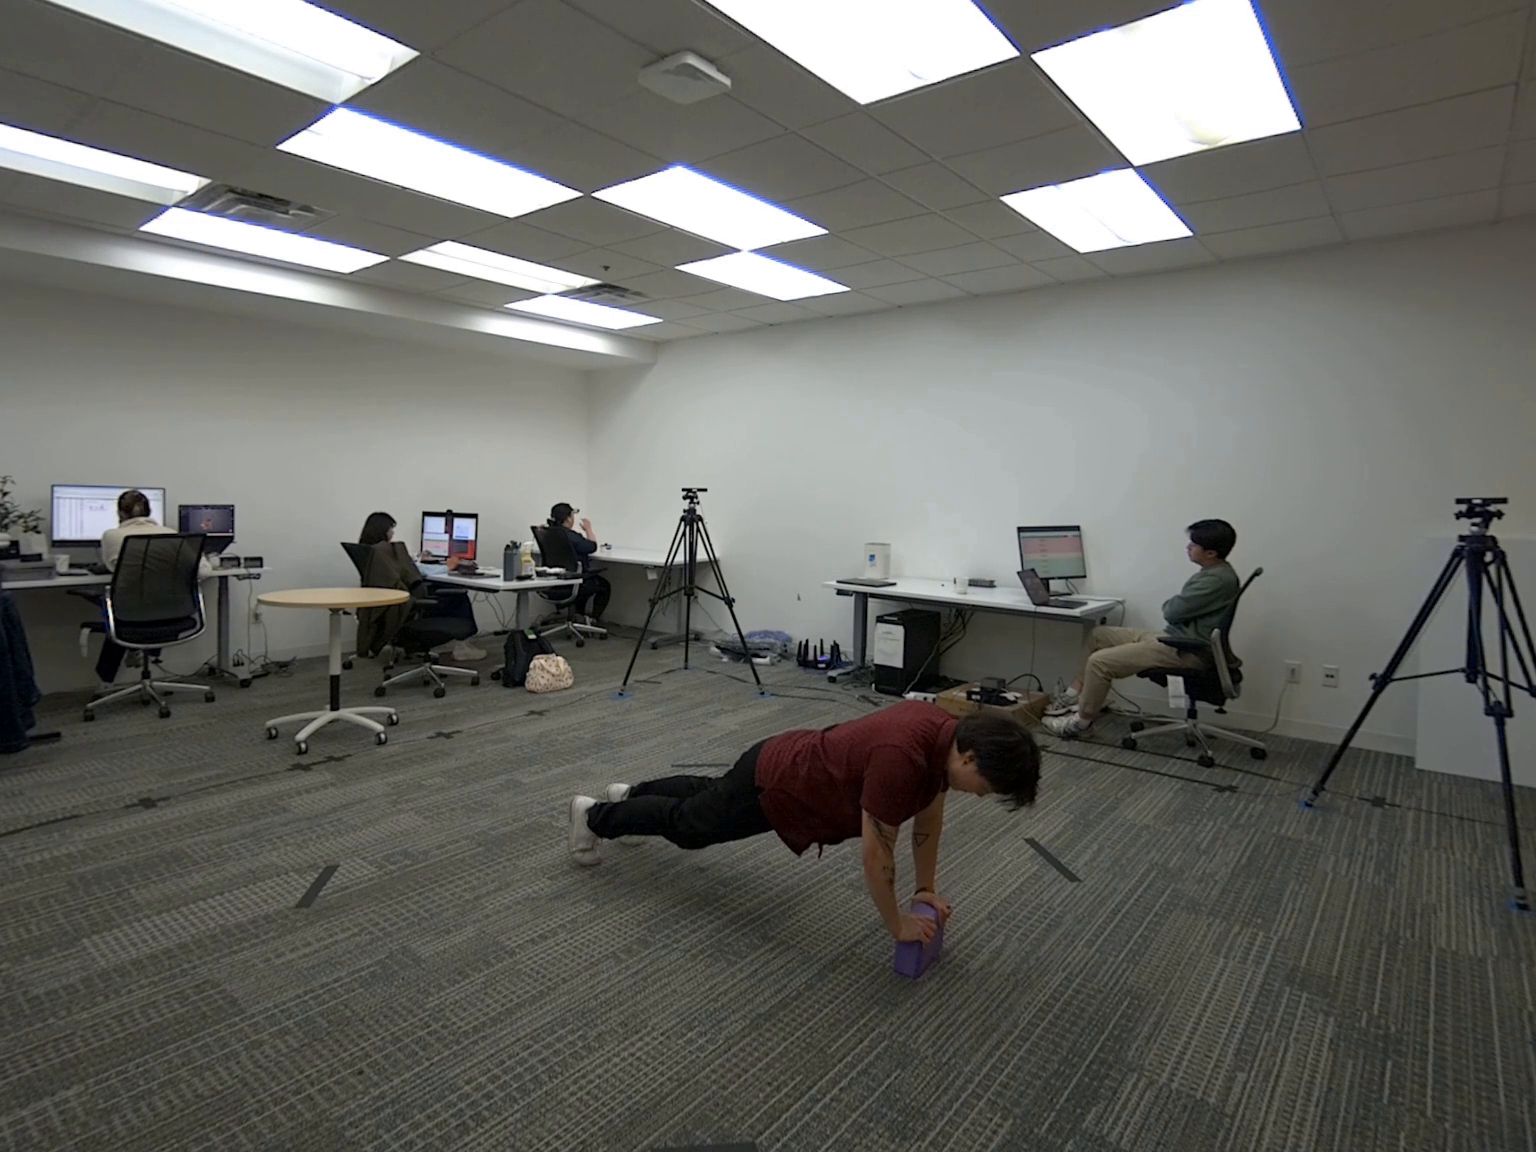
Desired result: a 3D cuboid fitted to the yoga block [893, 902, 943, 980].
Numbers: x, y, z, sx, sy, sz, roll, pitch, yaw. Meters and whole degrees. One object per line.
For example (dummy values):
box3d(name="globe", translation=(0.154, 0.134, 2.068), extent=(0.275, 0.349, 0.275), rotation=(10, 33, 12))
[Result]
box3d(name="yoga block", translation=(0.452, 1.071, 2.543), extent=(0.079, 0.148, 0.223), rotation=(8, 7, 31))
